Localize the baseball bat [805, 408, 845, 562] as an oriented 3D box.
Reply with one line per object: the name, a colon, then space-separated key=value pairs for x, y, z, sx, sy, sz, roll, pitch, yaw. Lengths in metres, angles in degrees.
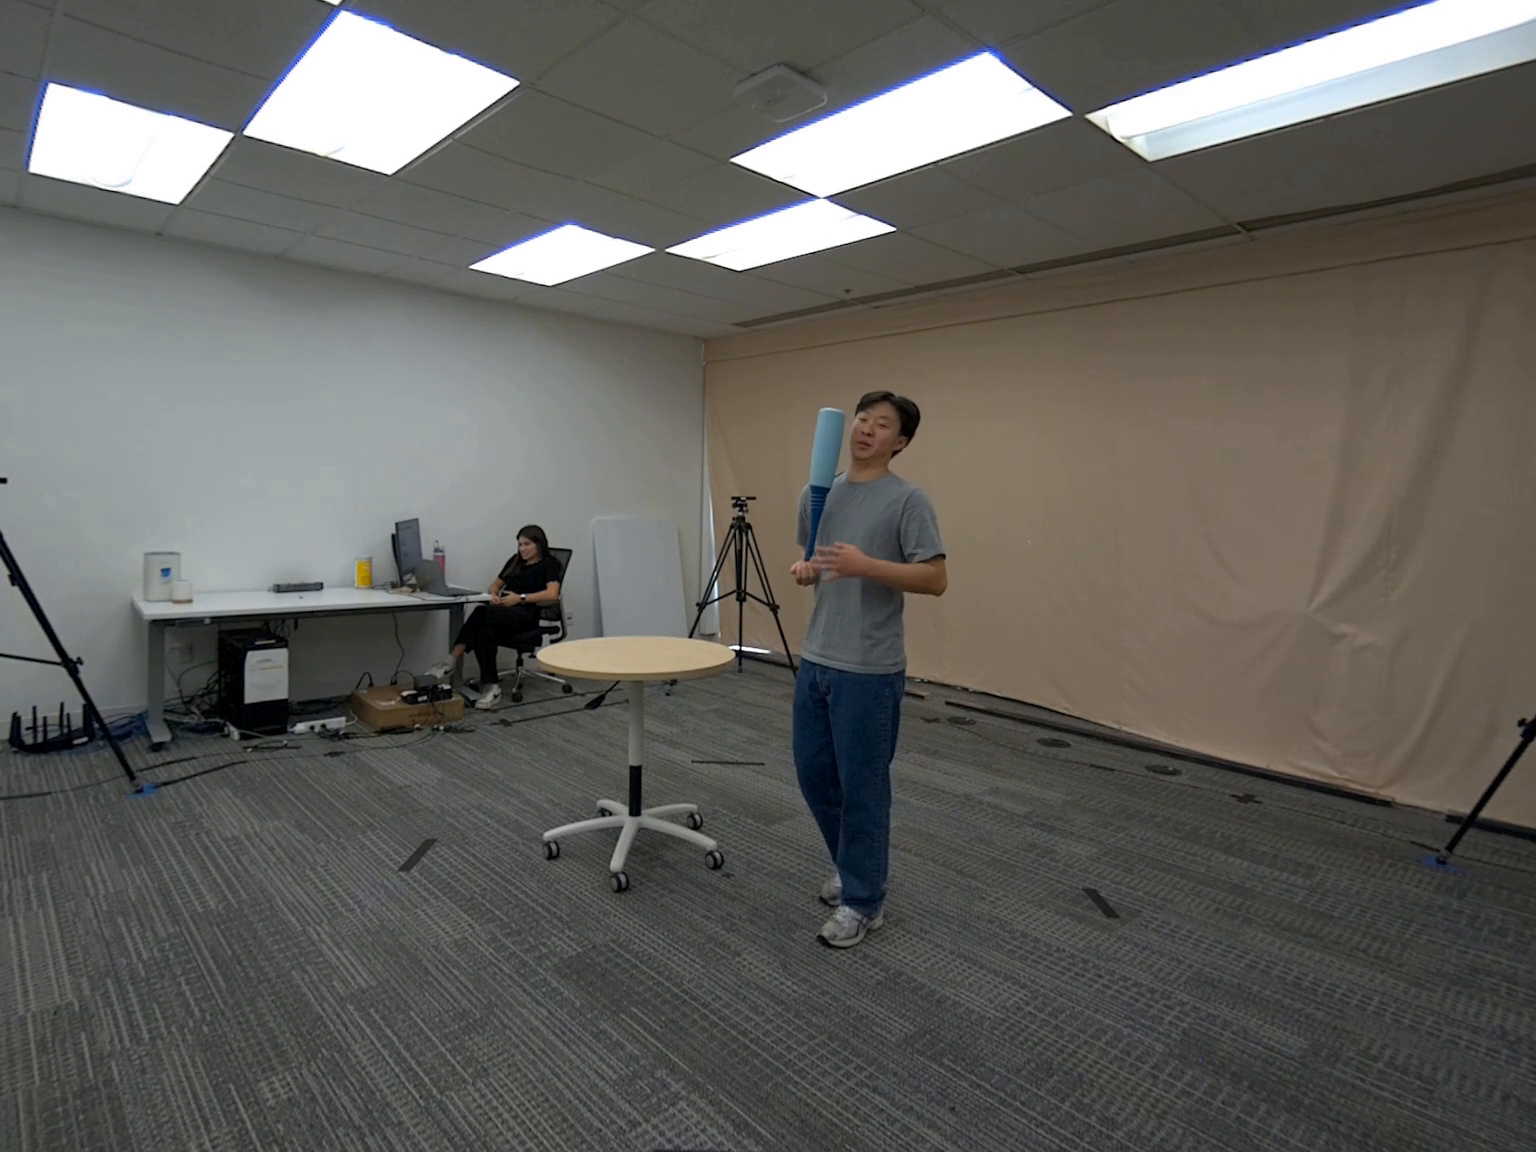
baseball bat: x=0.166 y=-0.264 z=2.707 sx=0.089 sy=0.541 sz=0.089 roll=11 pitch=4 yaw=-2
